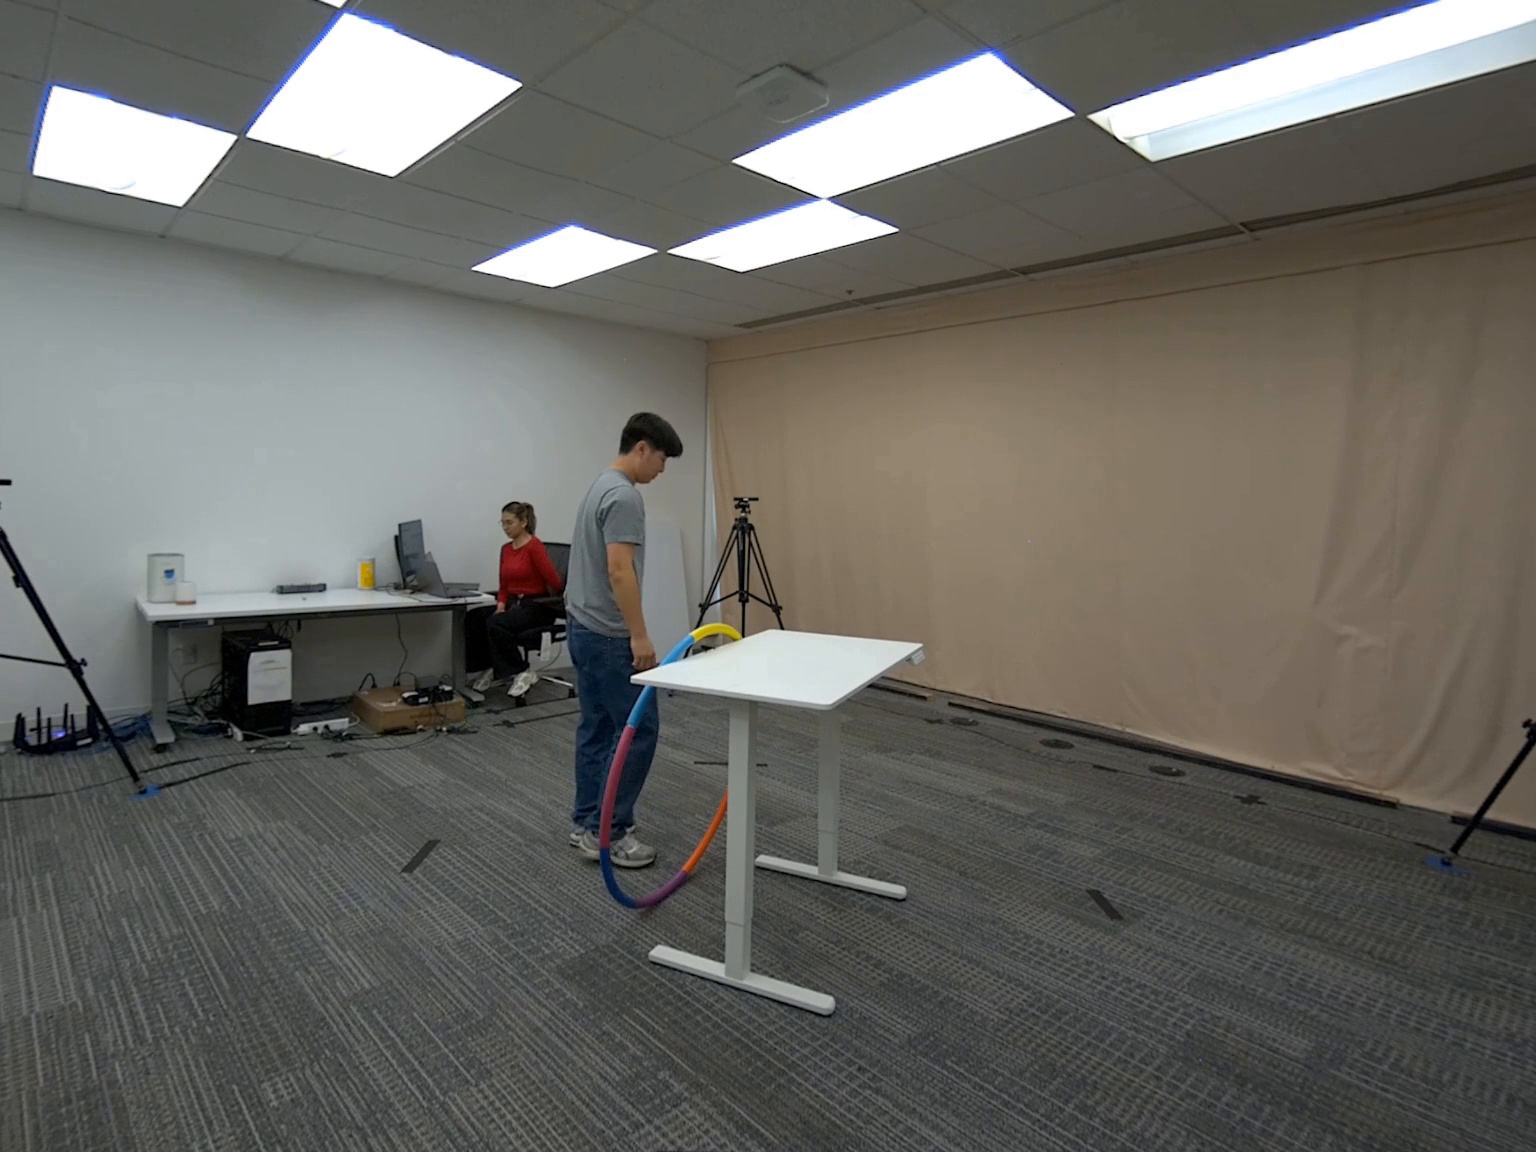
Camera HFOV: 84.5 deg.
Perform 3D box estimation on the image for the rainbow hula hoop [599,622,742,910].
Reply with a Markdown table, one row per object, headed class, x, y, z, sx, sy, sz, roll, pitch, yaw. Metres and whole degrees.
| class | x | y | z | sx | sy | sz | roll | pitch | yaw |
| --- | --- | --- | --- | --- | --- | --- | --- | --- | --- |
| rainbow hula hoop | -0.292 | 0.643 | 2.890 | 0.036 | 0.974 | 0.963 | 14 | 9 | 21 |
